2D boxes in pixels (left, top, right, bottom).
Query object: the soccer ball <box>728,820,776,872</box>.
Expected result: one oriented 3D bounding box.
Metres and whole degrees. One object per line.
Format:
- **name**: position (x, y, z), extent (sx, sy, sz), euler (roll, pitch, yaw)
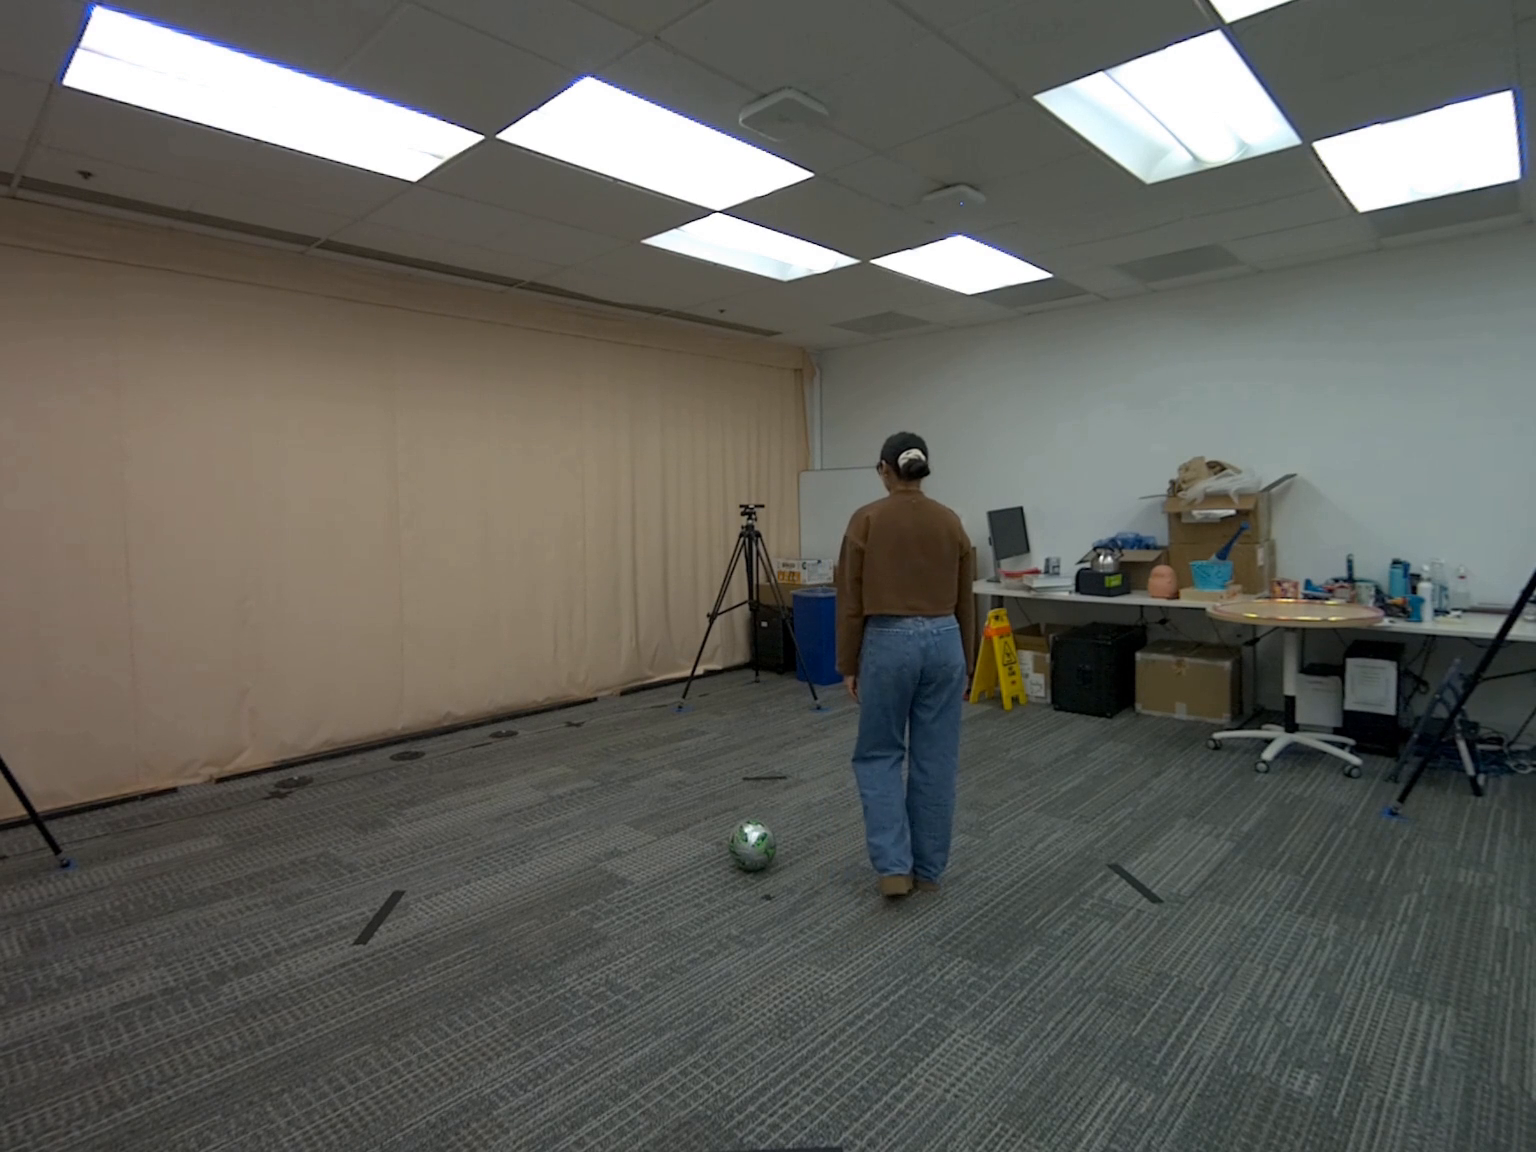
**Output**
- **soccer ball**: position (-0.062, 1.025, 3.217), extent (0.187, 0.187, 0.188), euler (-1, 4, -2)
